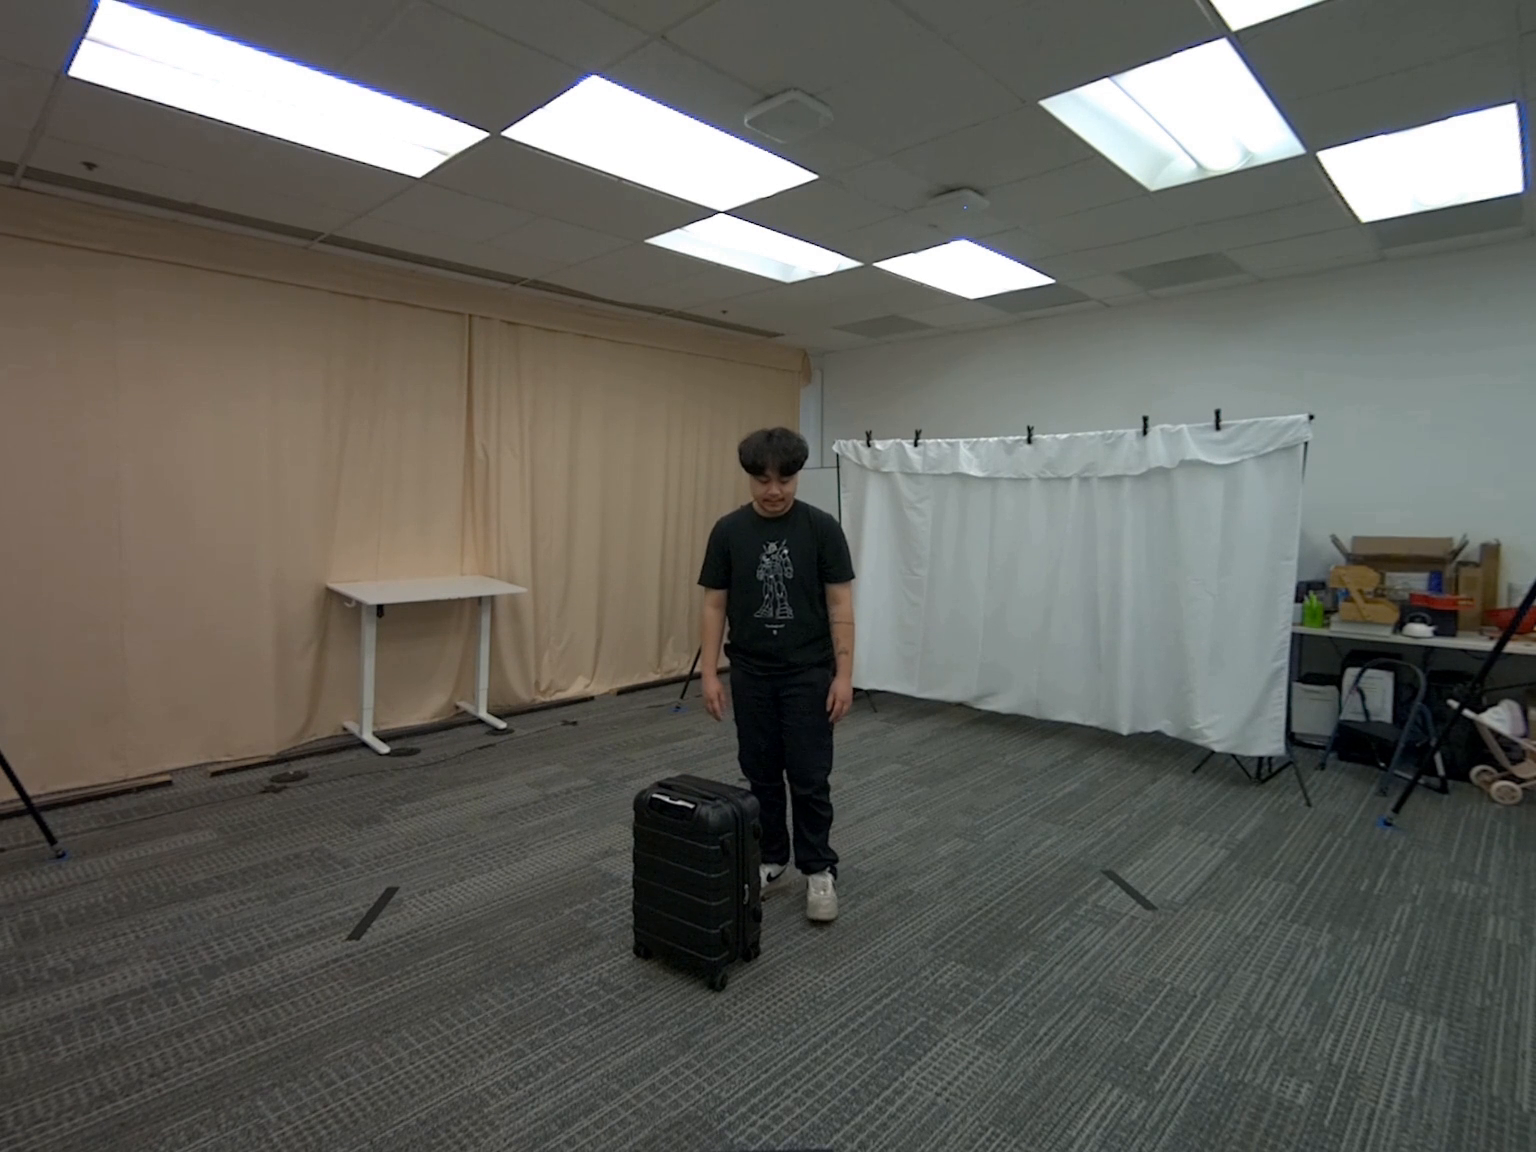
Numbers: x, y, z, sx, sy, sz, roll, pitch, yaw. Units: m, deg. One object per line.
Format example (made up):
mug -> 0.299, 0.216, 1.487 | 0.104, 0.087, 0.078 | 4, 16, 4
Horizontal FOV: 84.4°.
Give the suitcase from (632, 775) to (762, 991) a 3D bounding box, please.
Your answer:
suitcase -> -0.220, 0.906, 2.569 | 0.387, 0.548, 0.241 | 2, 5, 35
